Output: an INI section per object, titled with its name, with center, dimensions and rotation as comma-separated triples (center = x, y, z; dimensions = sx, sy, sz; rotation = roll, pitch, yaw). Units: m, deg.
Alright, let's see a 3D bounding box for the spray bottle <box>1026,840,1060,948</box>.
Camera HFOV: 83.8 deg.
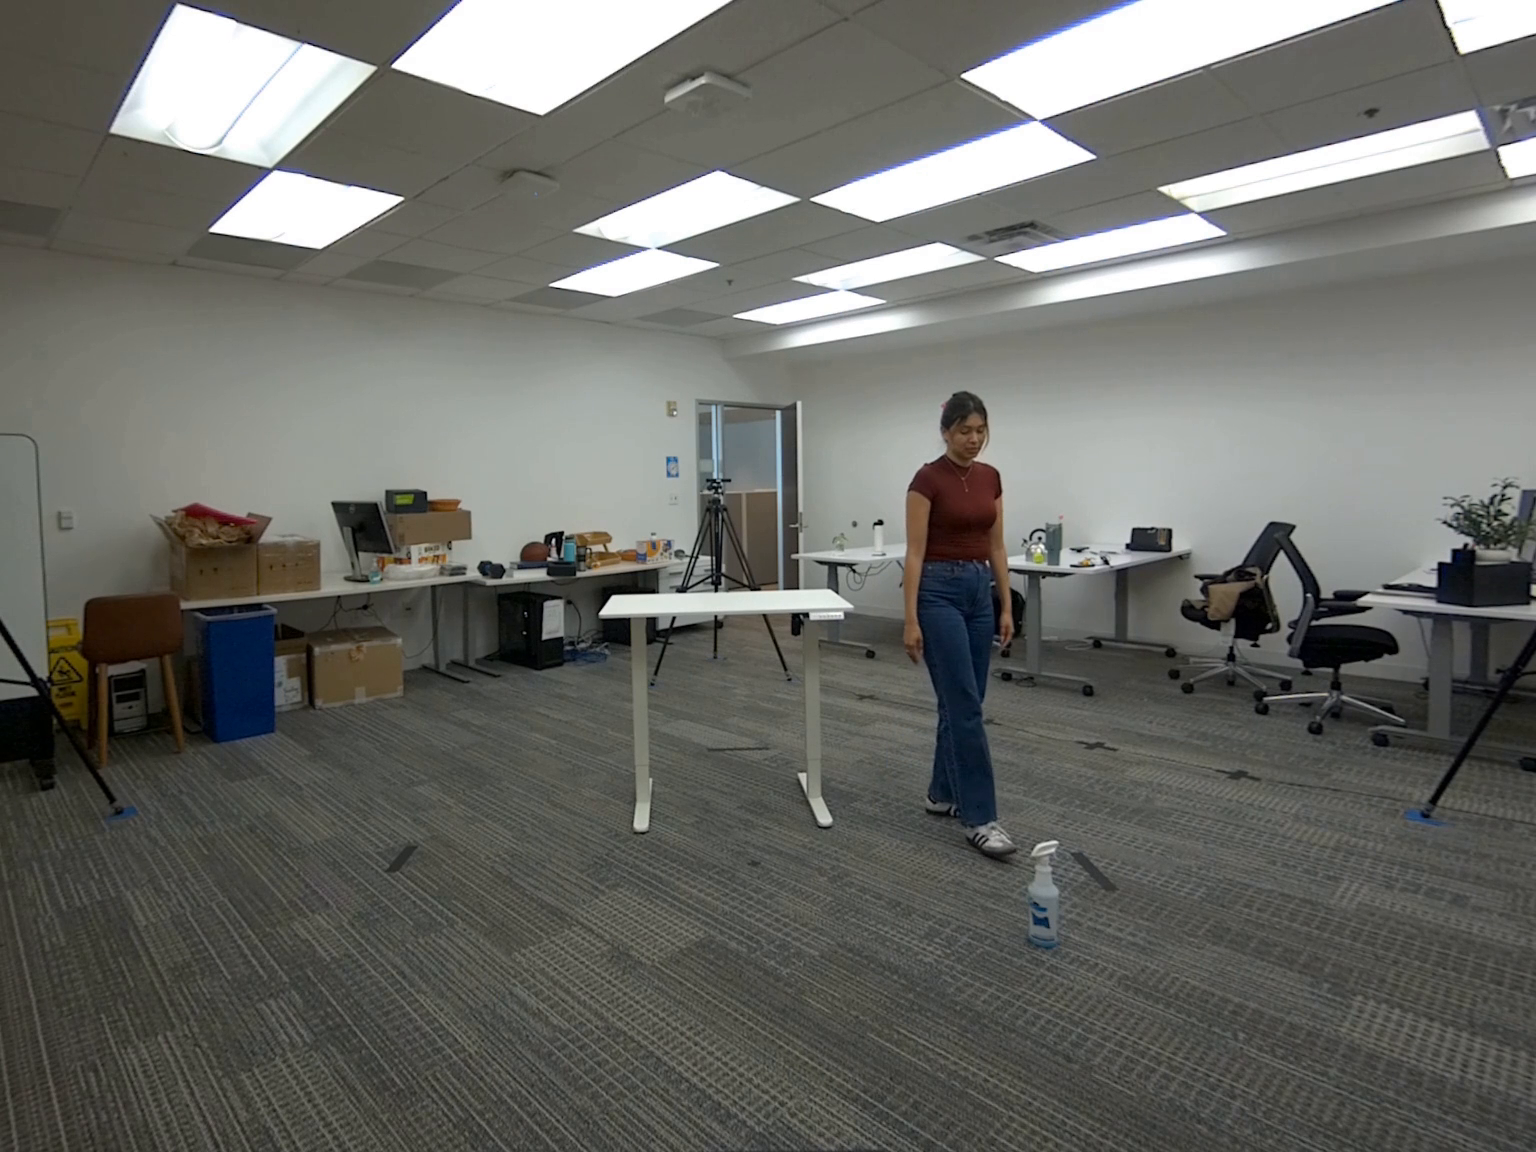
[spray bottle]
center = 0.829, 0.954, 2.551
dimensions = 0.090, 0.296, 0.087
rotation = -2, 4, 4
